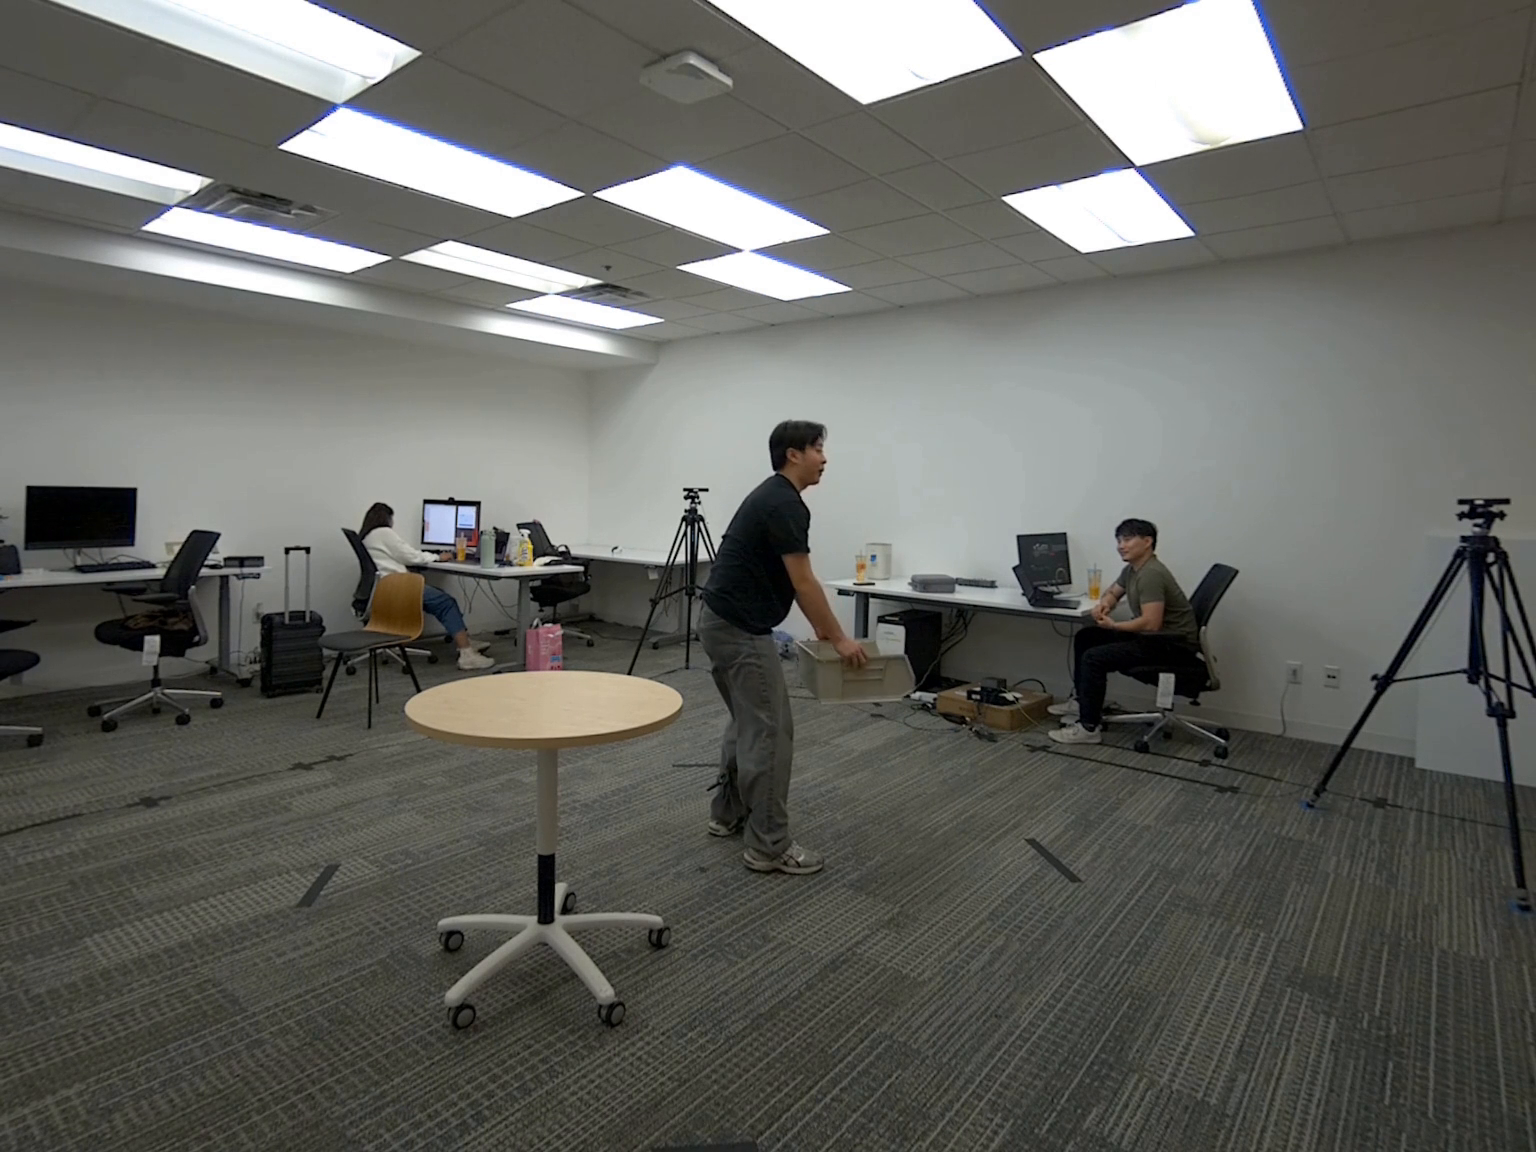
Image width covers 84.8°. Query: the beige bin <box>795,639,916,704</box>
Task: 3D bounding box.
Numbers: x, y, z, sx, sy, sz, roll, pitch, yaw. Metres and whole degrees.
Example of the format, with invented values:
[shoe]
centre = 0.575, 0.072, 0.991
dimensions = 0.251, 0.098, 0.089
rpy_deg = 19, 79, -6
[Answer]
[beige bin]
centre = 0.323, 0.383, 3.389
dimensions = 0.374, 0.188, 0.427
rpy_deg = -2, 5, -9
